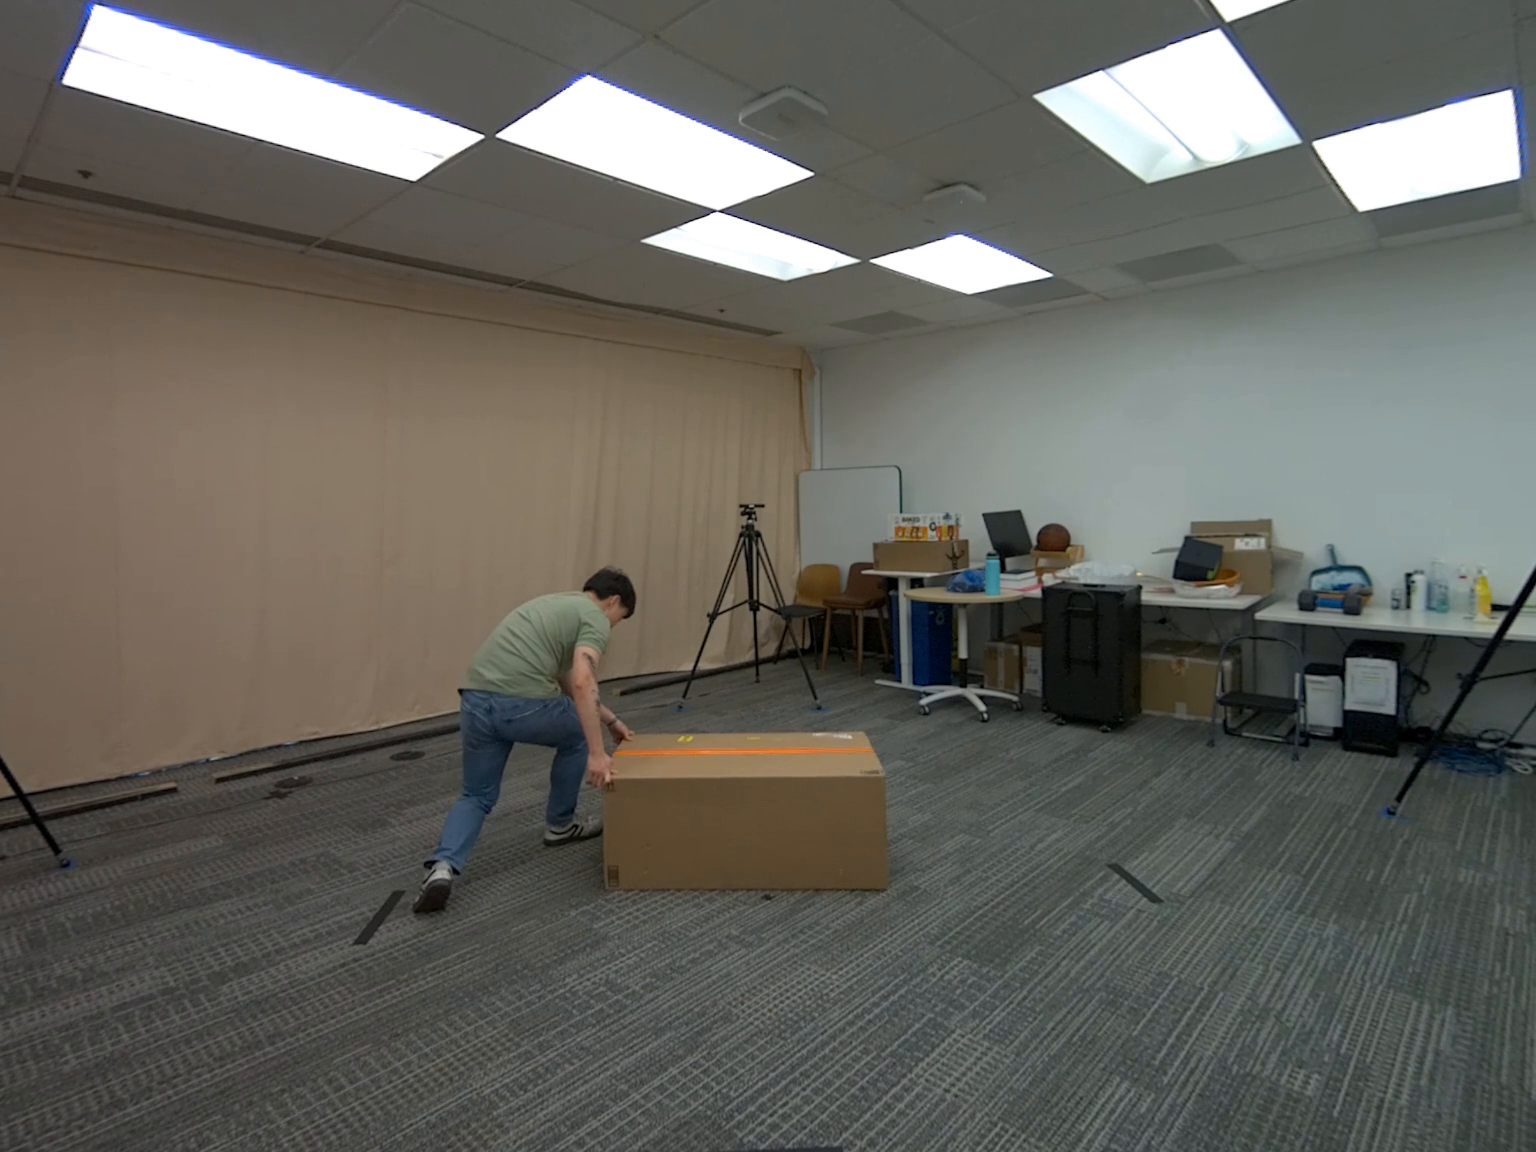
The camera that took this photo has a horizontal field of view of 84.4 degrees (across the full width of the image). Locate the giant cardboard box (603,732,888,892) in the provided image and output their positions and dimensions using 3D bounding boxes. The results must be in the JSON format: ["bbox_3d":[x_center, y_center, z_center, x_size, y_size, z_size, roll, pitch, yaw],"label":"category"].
[{"bbox_3d":[-0.083,0.899,3.311,1.028,0.425,0.577,-1,3,2],"label":"giant cardboard box"}]
